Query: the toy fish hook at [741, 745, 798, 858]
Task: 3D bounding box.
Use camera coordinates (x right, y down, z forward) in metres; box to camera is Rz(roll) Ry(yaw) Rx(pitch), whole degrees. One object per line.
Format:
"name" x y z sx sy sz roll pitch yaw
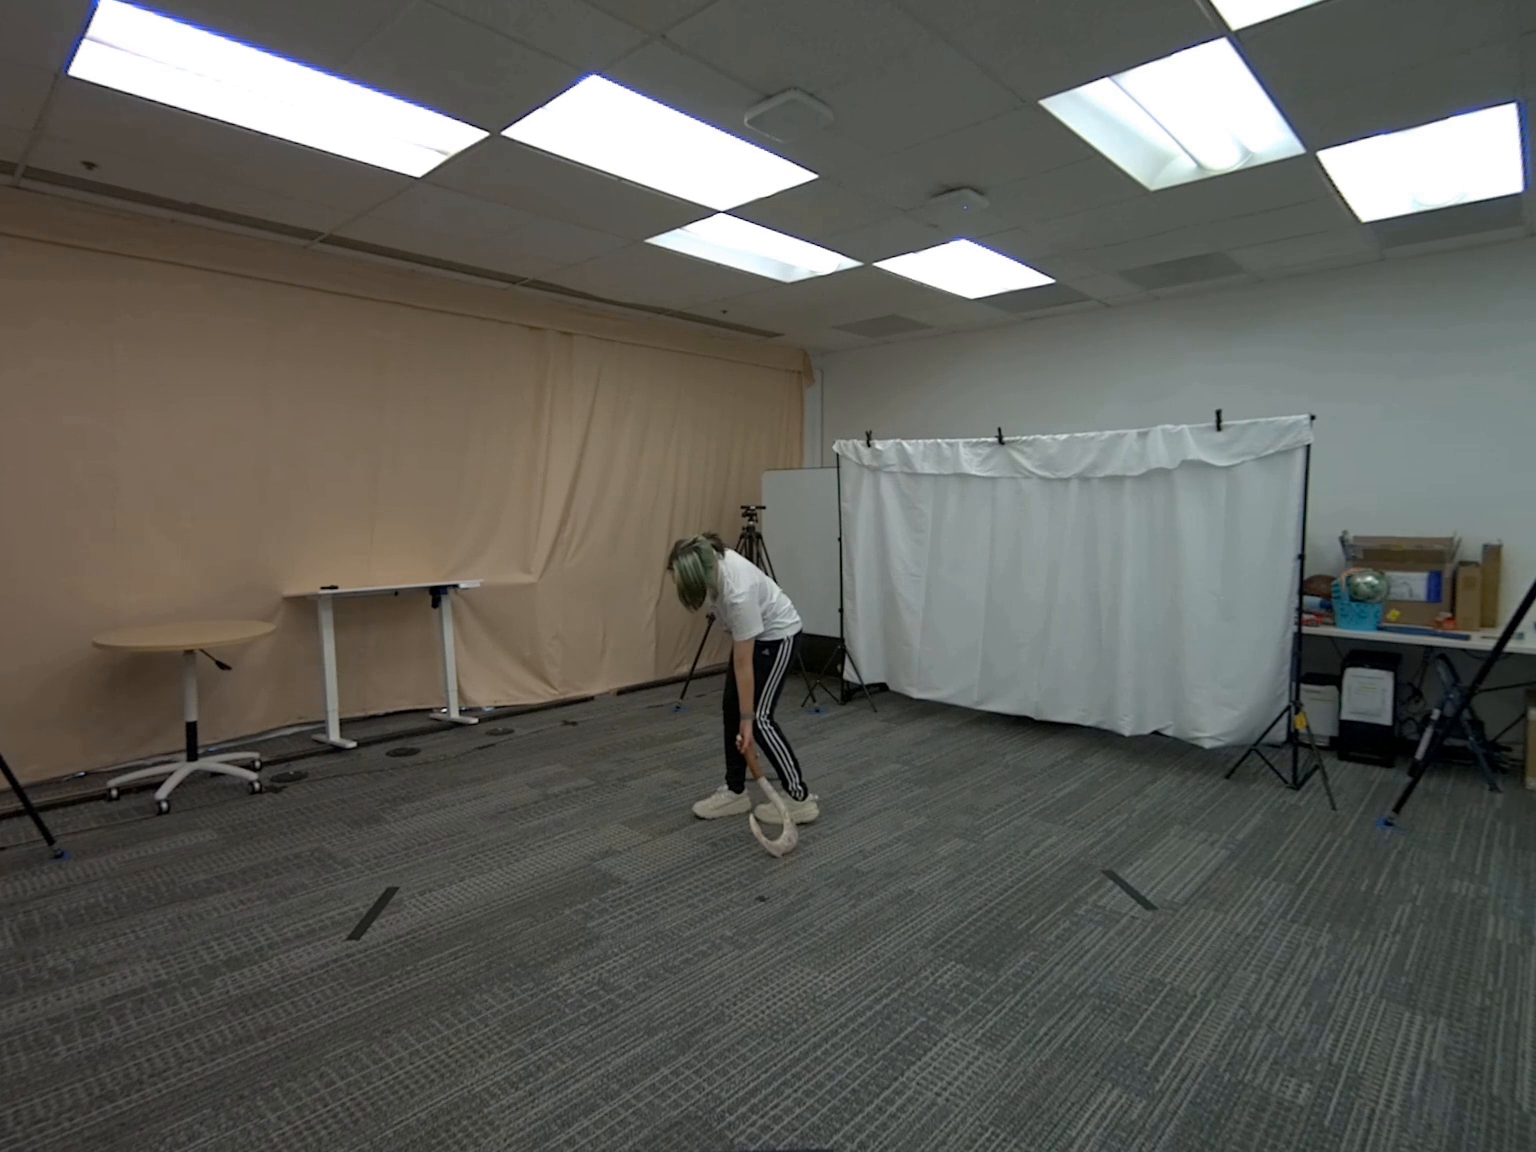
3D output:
"toy fish hook" -0.034 0.881 3.428 0.218 0.516 0.049 -6 -27 -49
